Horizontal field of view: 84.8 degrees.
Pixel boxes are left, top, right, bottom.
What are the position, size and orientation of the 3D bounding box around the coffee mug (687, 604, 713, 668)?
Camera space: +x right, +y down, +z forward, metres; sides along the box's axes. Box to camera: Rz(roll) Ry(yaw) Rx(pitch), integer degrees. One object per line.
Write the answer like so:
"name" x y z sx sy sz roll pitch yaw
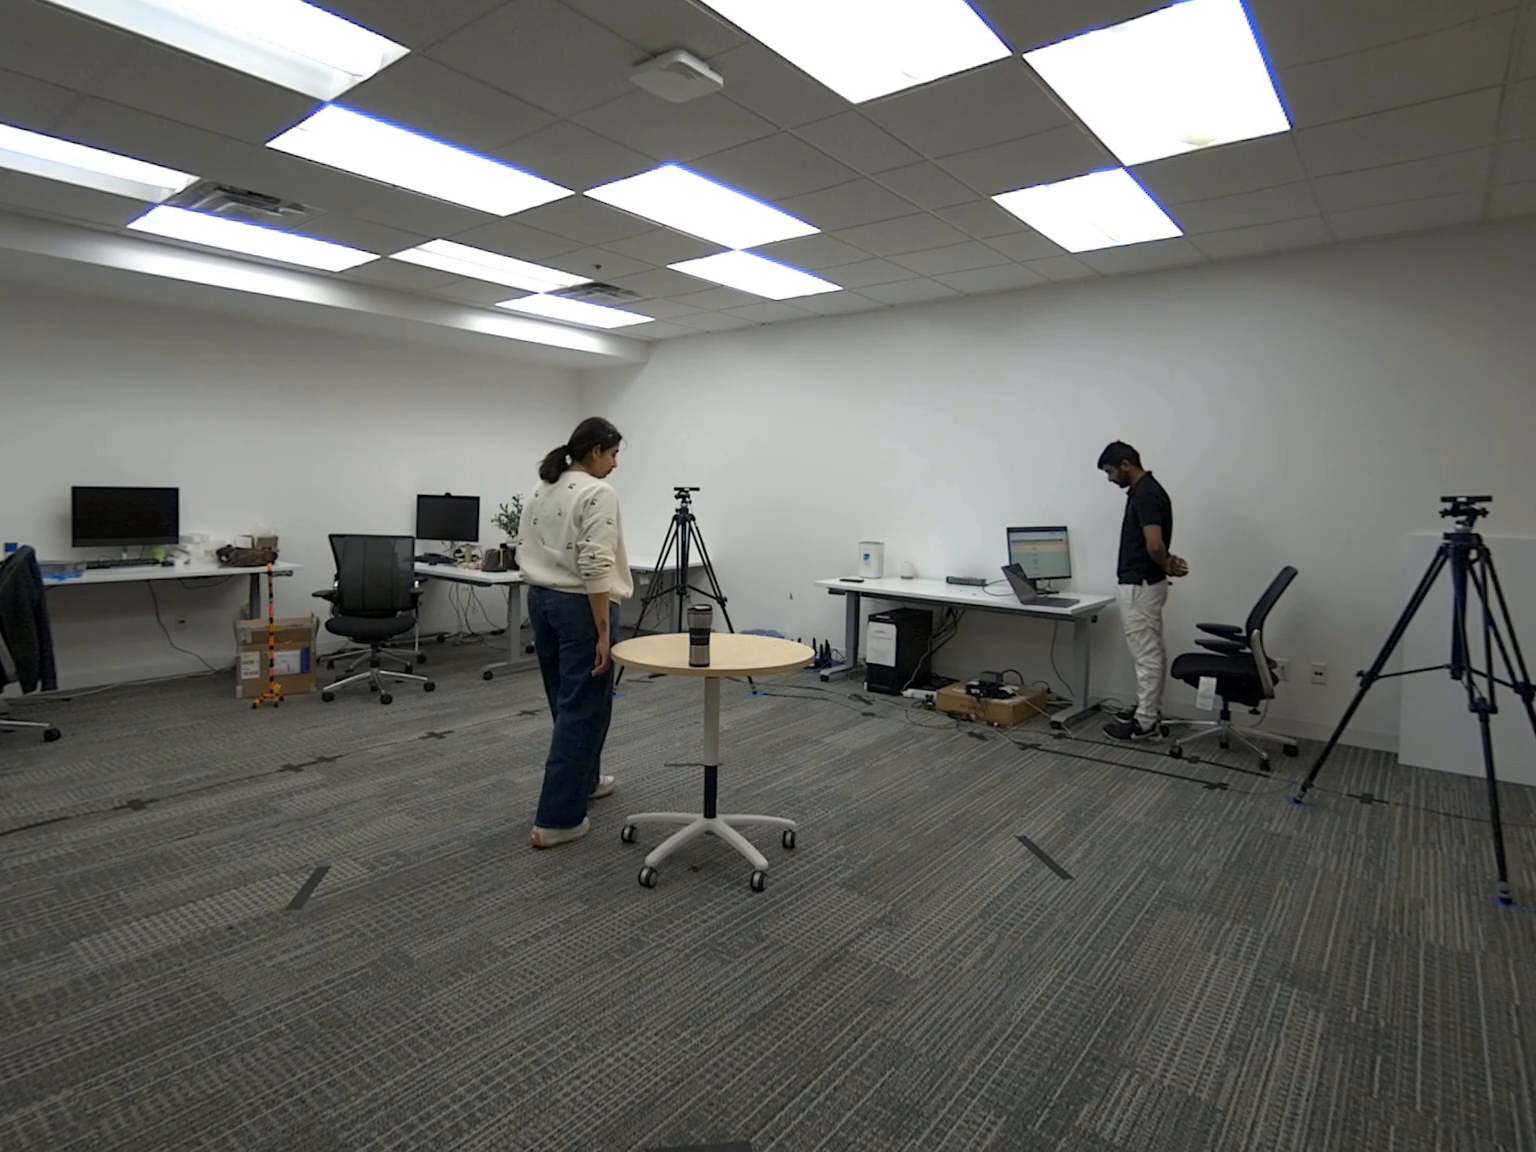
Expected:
"coffee mug" -0.233 0.203 2.901 0.090 0.202 0.119 -4 3 27
